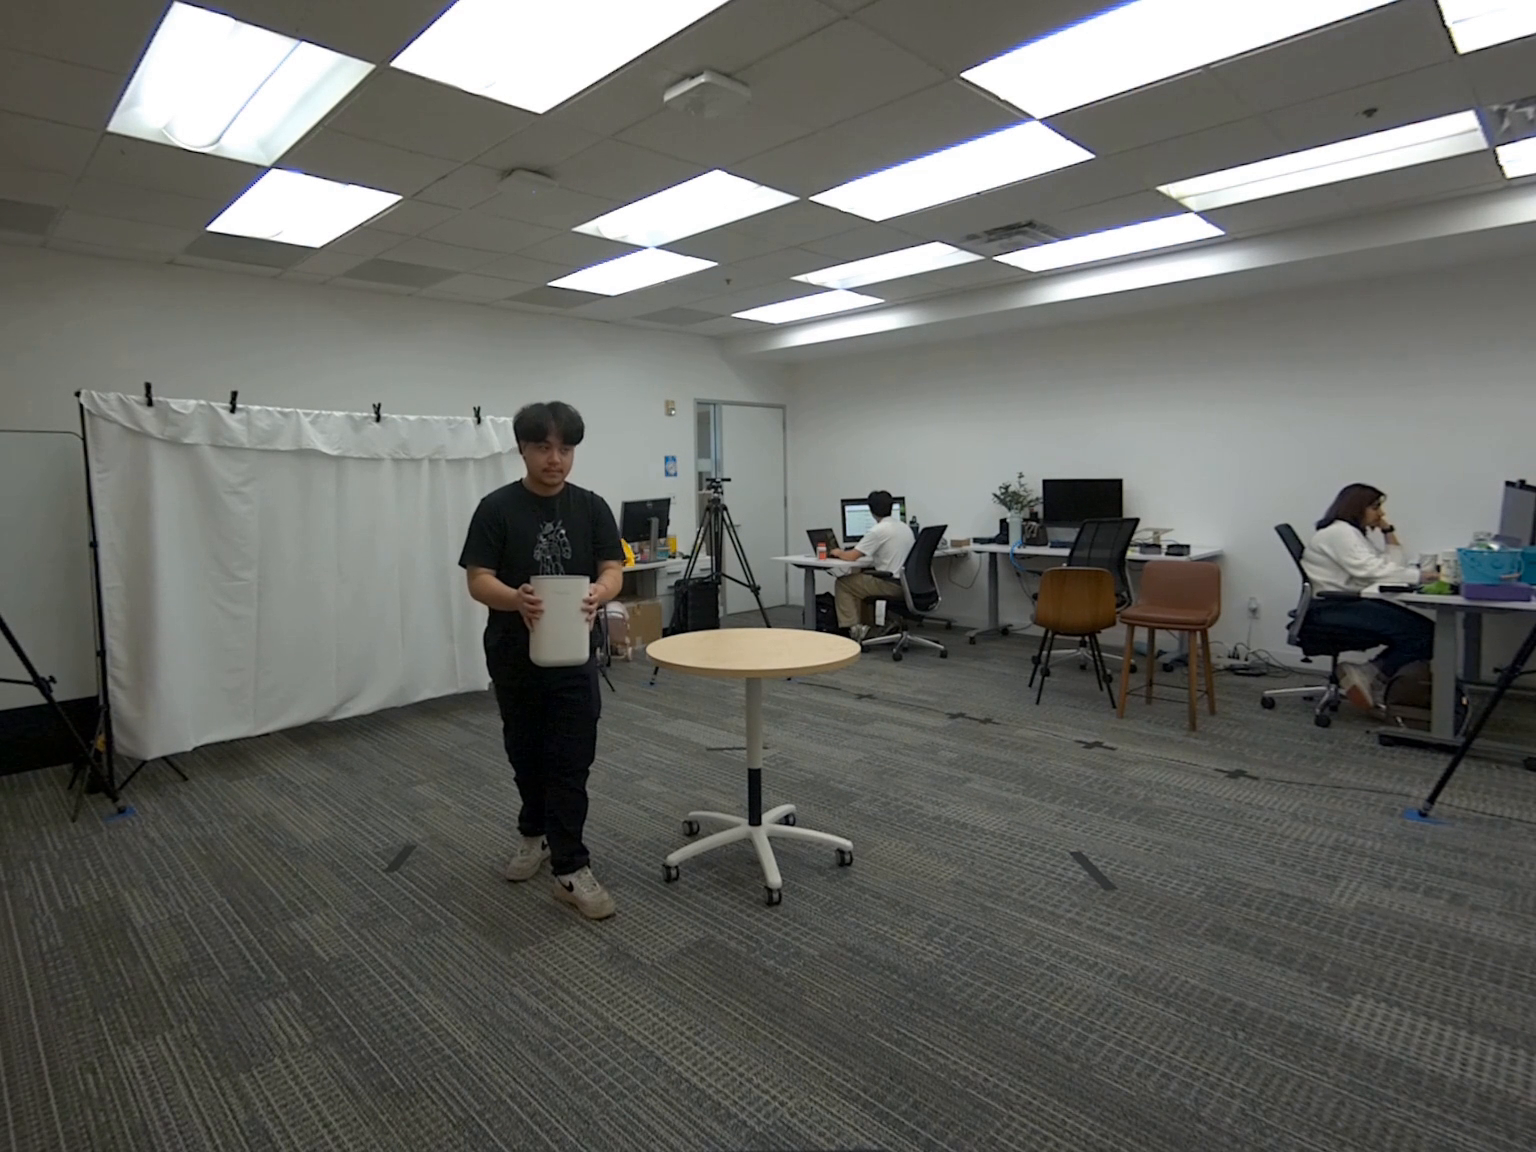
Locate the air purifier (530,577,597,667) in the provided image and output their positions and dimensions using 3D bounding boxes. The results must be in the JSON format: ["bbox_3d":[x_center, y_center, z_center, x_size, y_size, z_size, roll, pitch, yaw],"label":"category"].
[{"bbox_3d":[-0.622,0.138,2.586,0.168,0.266,0.175,0,-2,-22],"label":"air purifier"}]
